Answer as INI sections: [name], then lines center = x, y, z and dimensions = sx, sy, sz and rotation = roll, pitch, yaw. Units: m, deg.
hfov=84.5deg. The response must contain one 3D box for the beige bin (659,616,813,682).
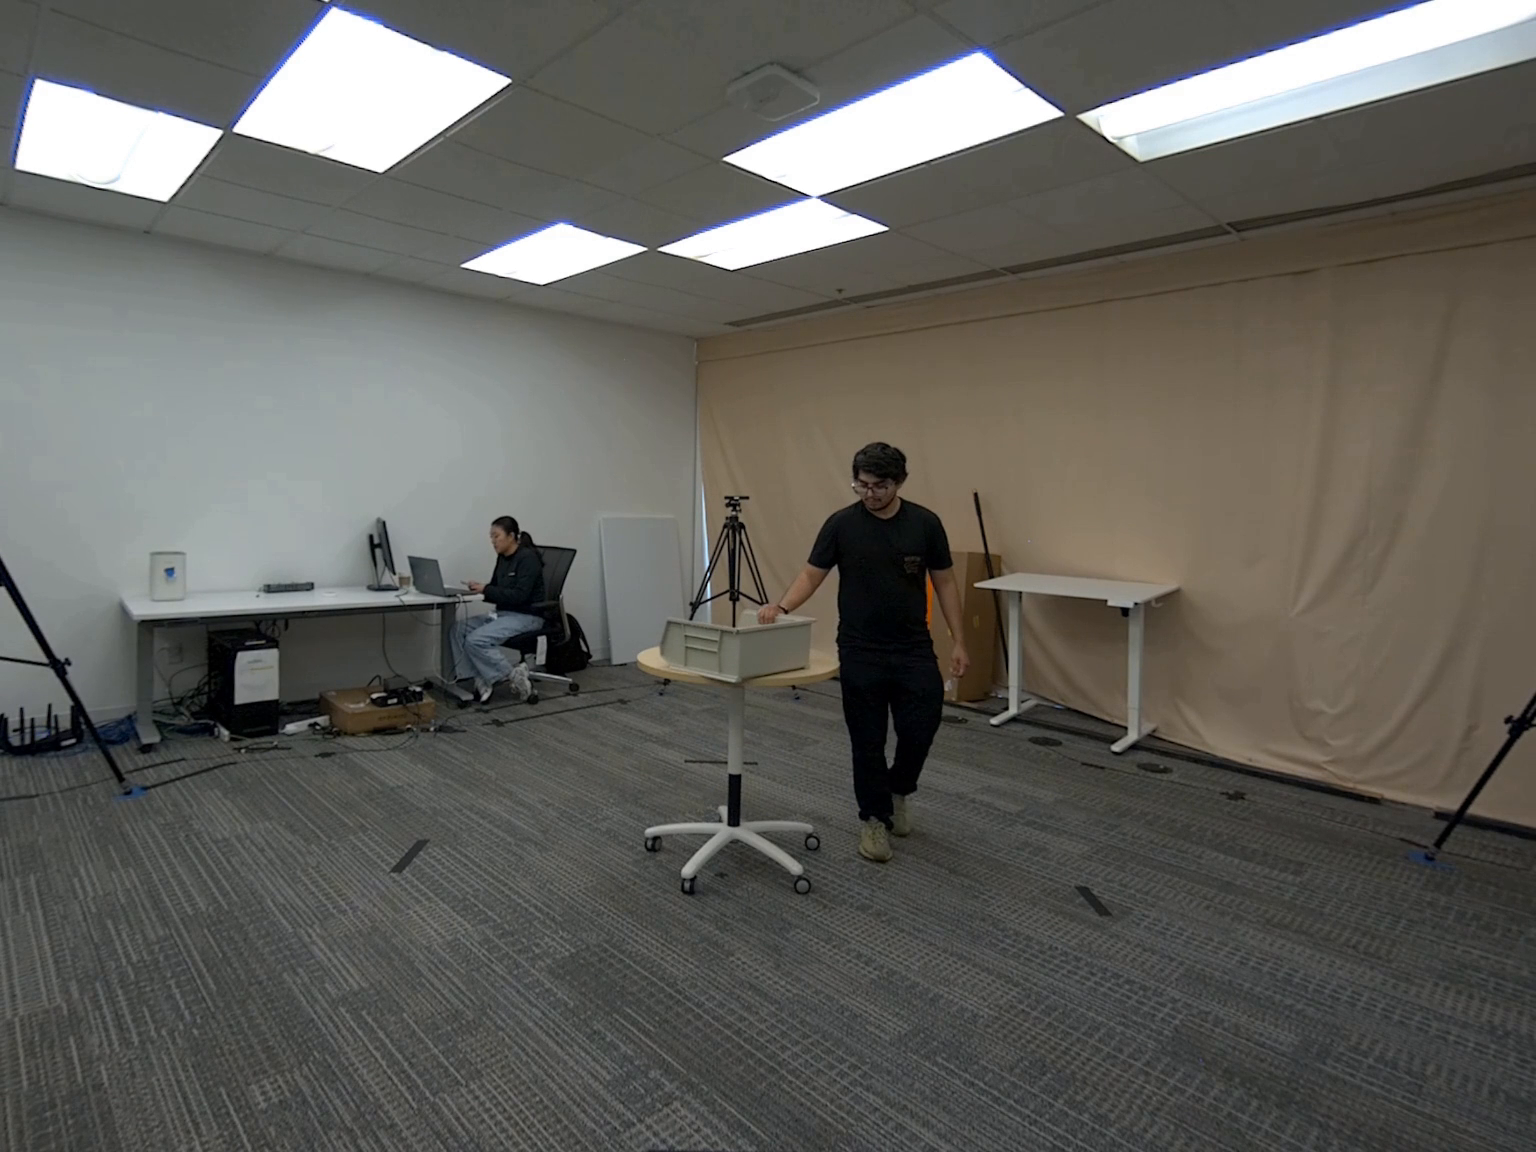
[beige bin]
center = -0.112, 0.239, 2.994
dimensions = 0.387, 0.188, 0.412
rotation = 7, 6, 41
